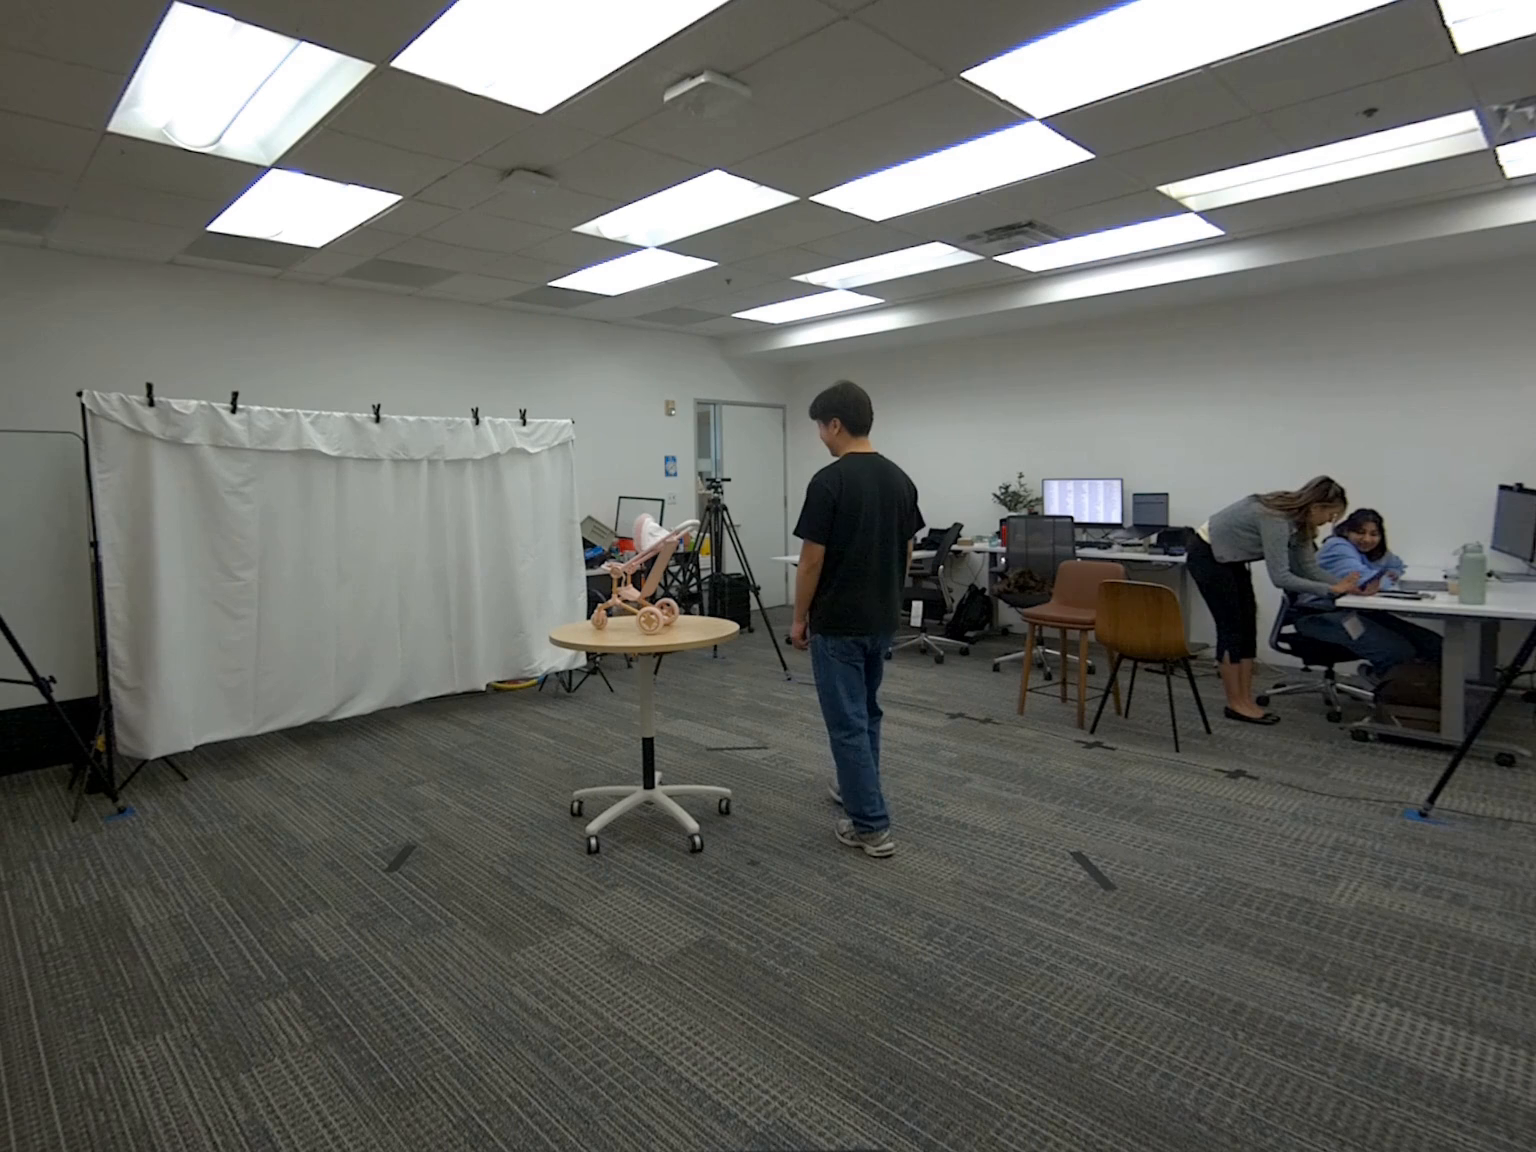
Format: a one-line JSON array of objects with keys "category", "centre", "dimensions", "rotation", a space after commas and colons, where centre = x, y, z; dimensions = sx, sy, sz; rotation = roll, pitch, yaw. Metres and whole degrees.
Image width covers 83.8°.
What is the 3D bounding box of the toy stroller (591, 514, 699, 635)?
[{"category": "toy stroller", "centre": [-0.506, -0.008, 3.435], "dimensions": [0.347, 0.532, 0.278], "rotation": [15, 7, 13]}]
